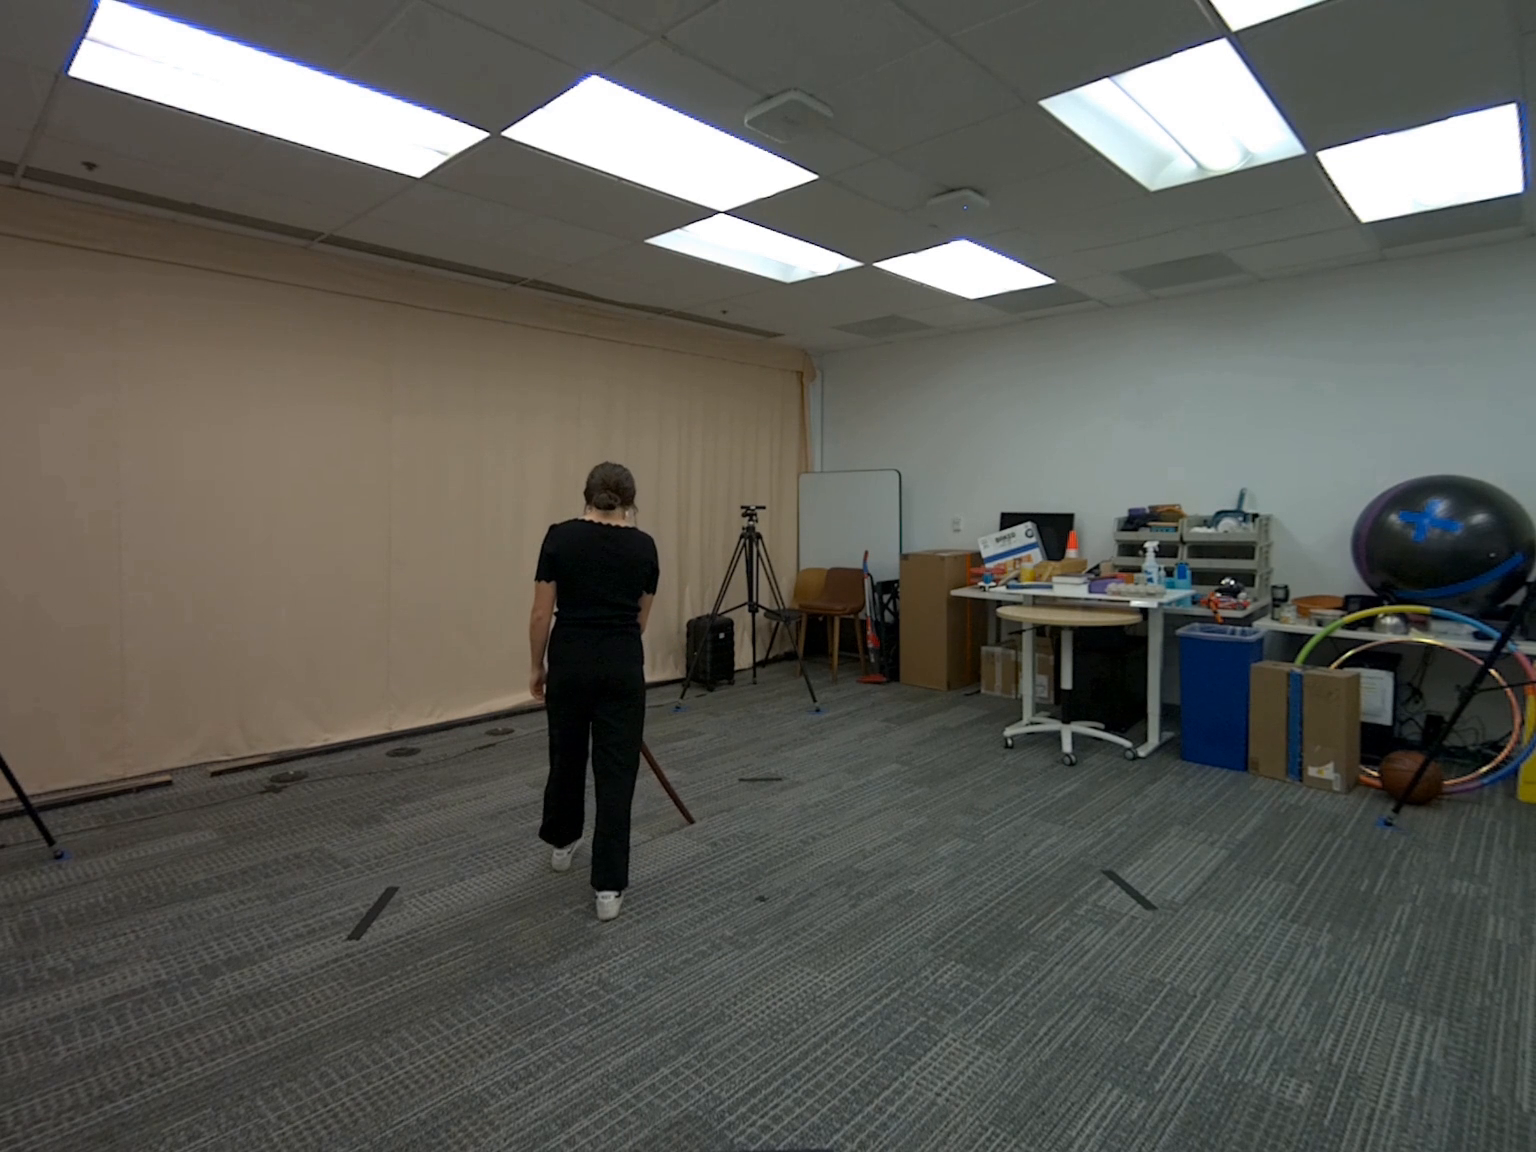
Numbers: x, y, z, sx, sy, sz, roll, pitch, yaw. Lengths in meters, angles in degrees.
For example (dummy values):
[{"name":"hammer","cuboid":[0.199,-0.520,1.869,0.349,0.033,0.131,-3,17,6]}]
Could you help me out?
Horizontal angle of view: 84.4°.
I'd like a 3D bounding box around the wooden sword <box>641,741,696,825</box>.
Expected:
[{"name":"wooden sword","cuboid":[-0.514,0.701,3.484,0.025,1.000,0.051,4,38,44]}]
